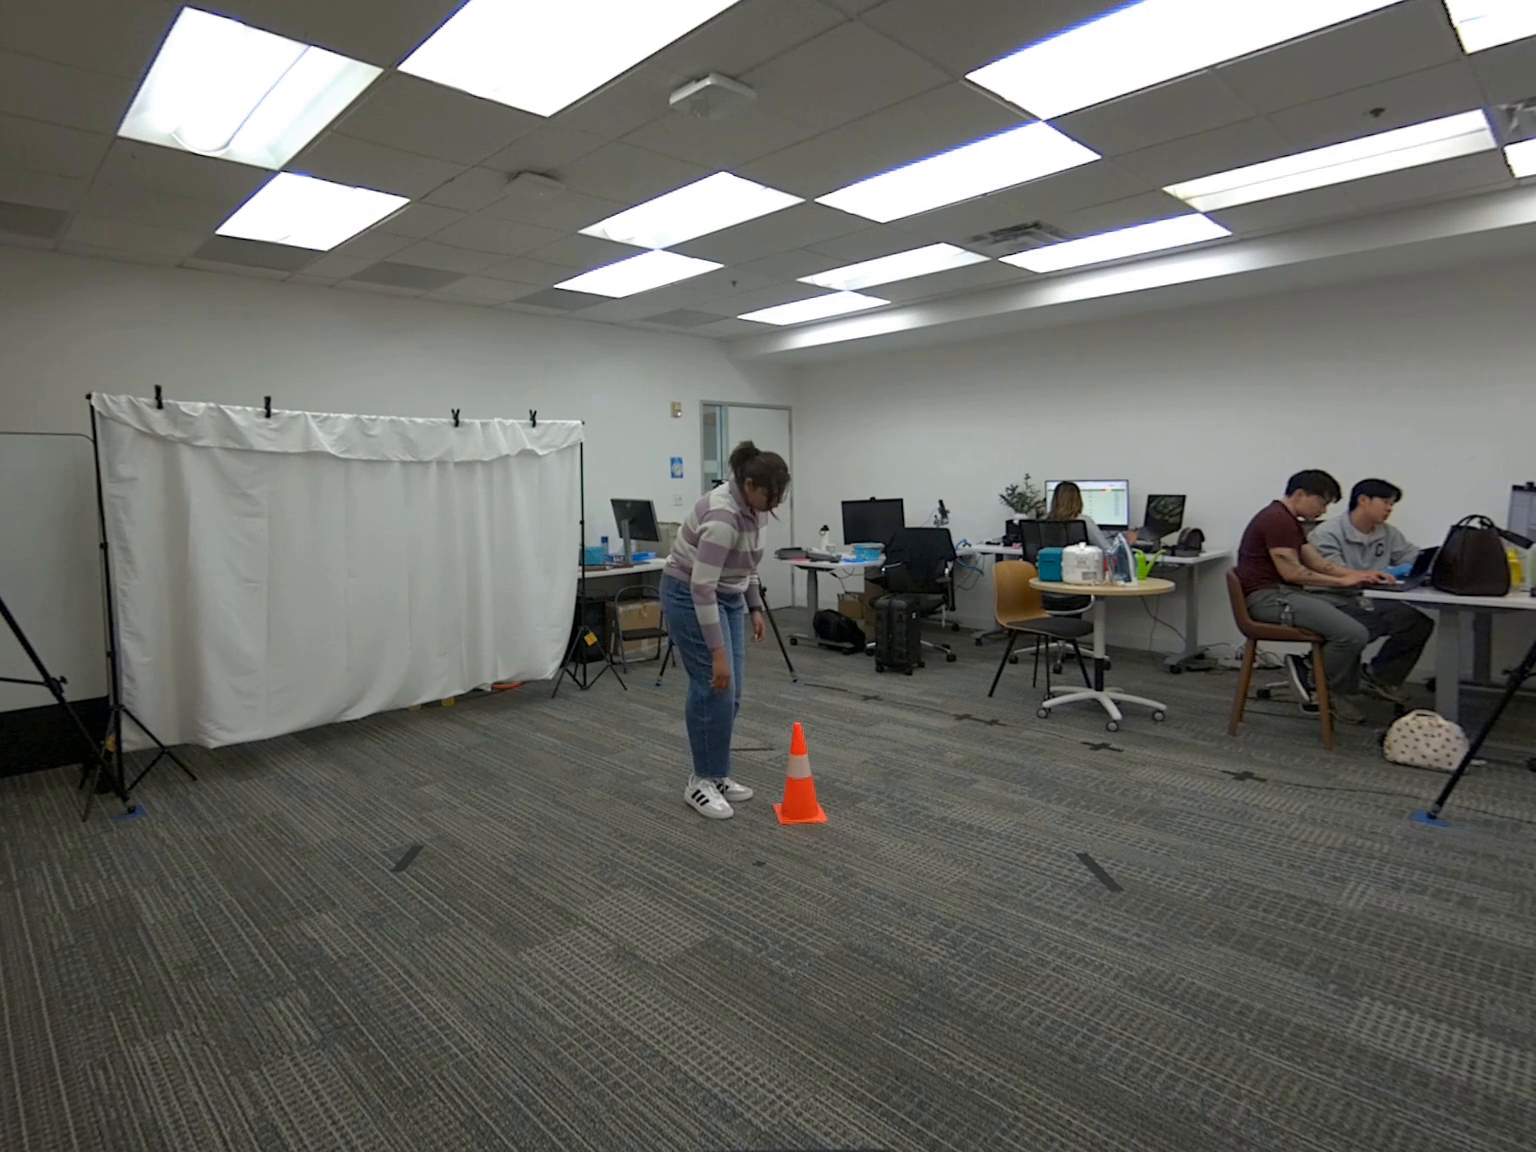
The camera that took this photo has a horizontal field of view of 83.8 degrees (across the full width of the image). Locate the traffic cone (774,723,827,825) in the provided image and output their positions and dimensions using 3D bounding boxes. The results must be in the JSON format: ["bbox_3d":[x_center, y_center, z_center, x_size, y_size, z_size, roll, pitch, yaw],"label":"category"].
[{"bbox_3d":[0.127,0.803,3.557,0.203,0.381,0.206,-1,6,-9],"label":"traffic cone"}]
